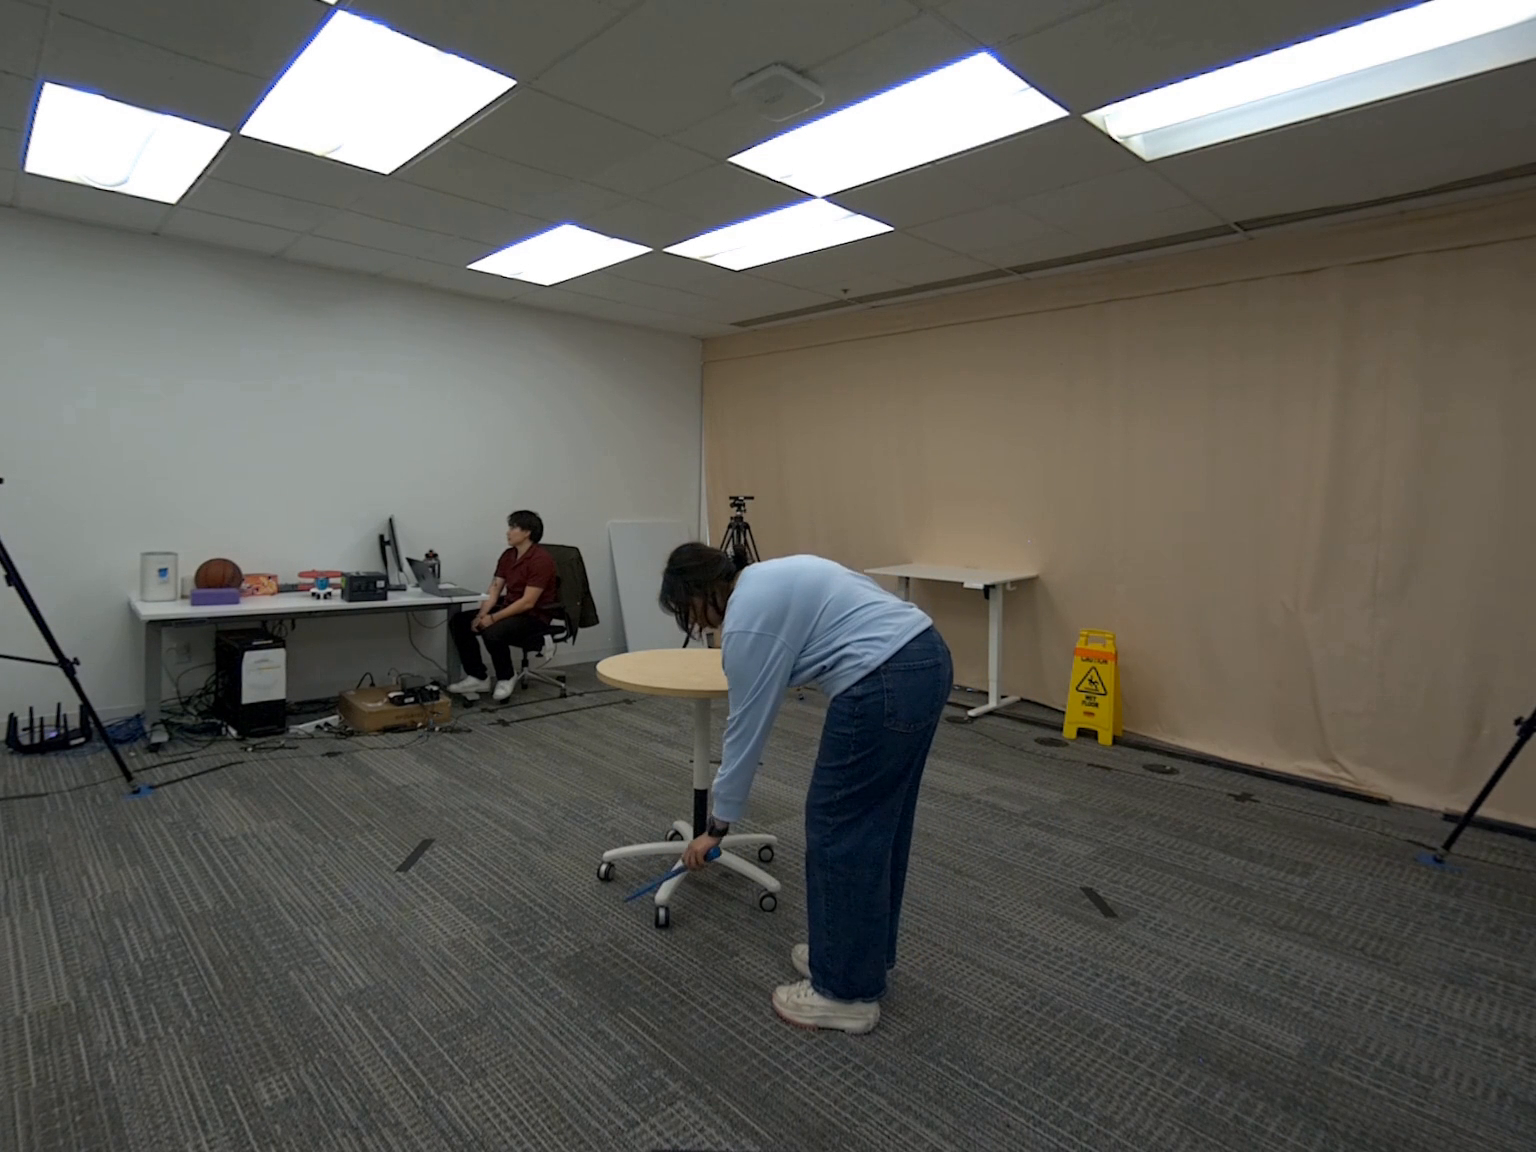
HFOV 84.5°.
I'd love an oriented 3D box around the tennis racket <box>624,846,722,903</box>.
[{"bbox_3d":[-0.256,0.866,2.381,0.210,0.032,0.434,-16,-18,-50],"label":"tennis racket"}]
